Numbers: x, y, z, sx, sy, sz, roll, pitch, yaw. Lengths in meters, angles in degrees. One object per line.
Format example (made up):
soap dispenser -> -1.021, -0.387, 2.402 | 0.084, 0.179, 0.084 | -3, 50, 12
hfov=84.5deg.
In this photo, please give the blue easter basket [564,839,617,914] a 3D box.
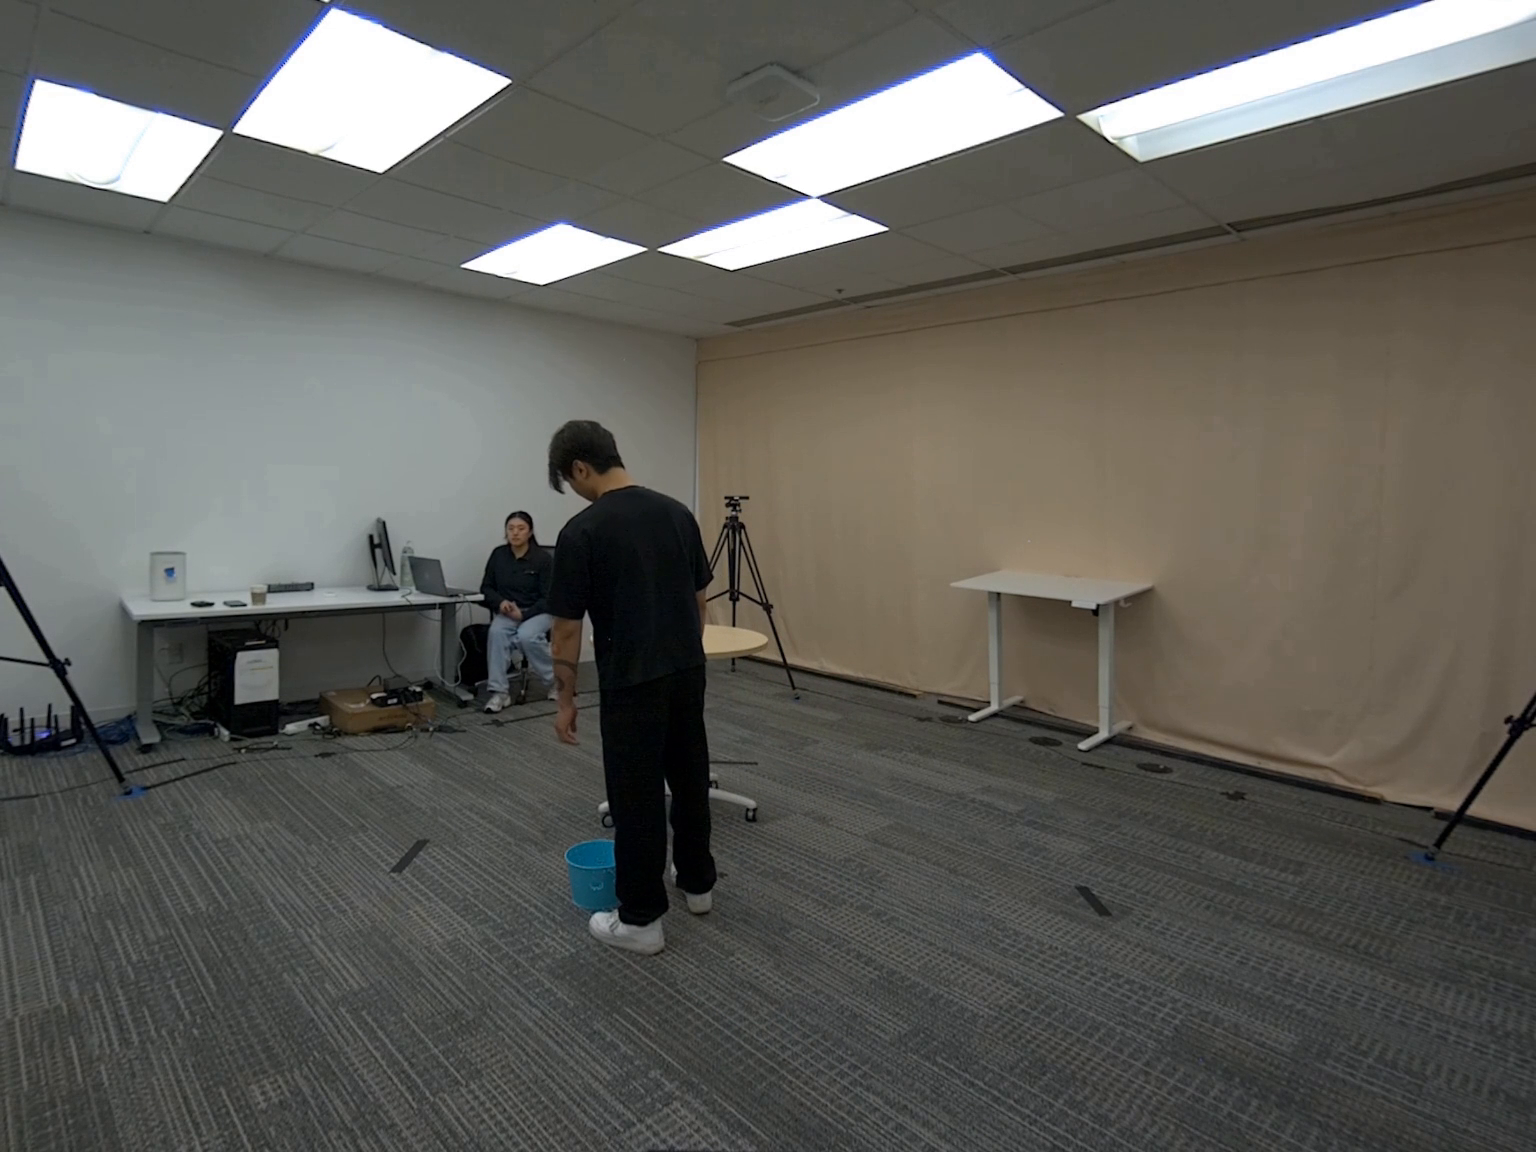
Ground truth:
blue easter basket -> -0.586, 1.033, 2.908 | 0.243, 0.155, 0.244 | 1, 4, -1
